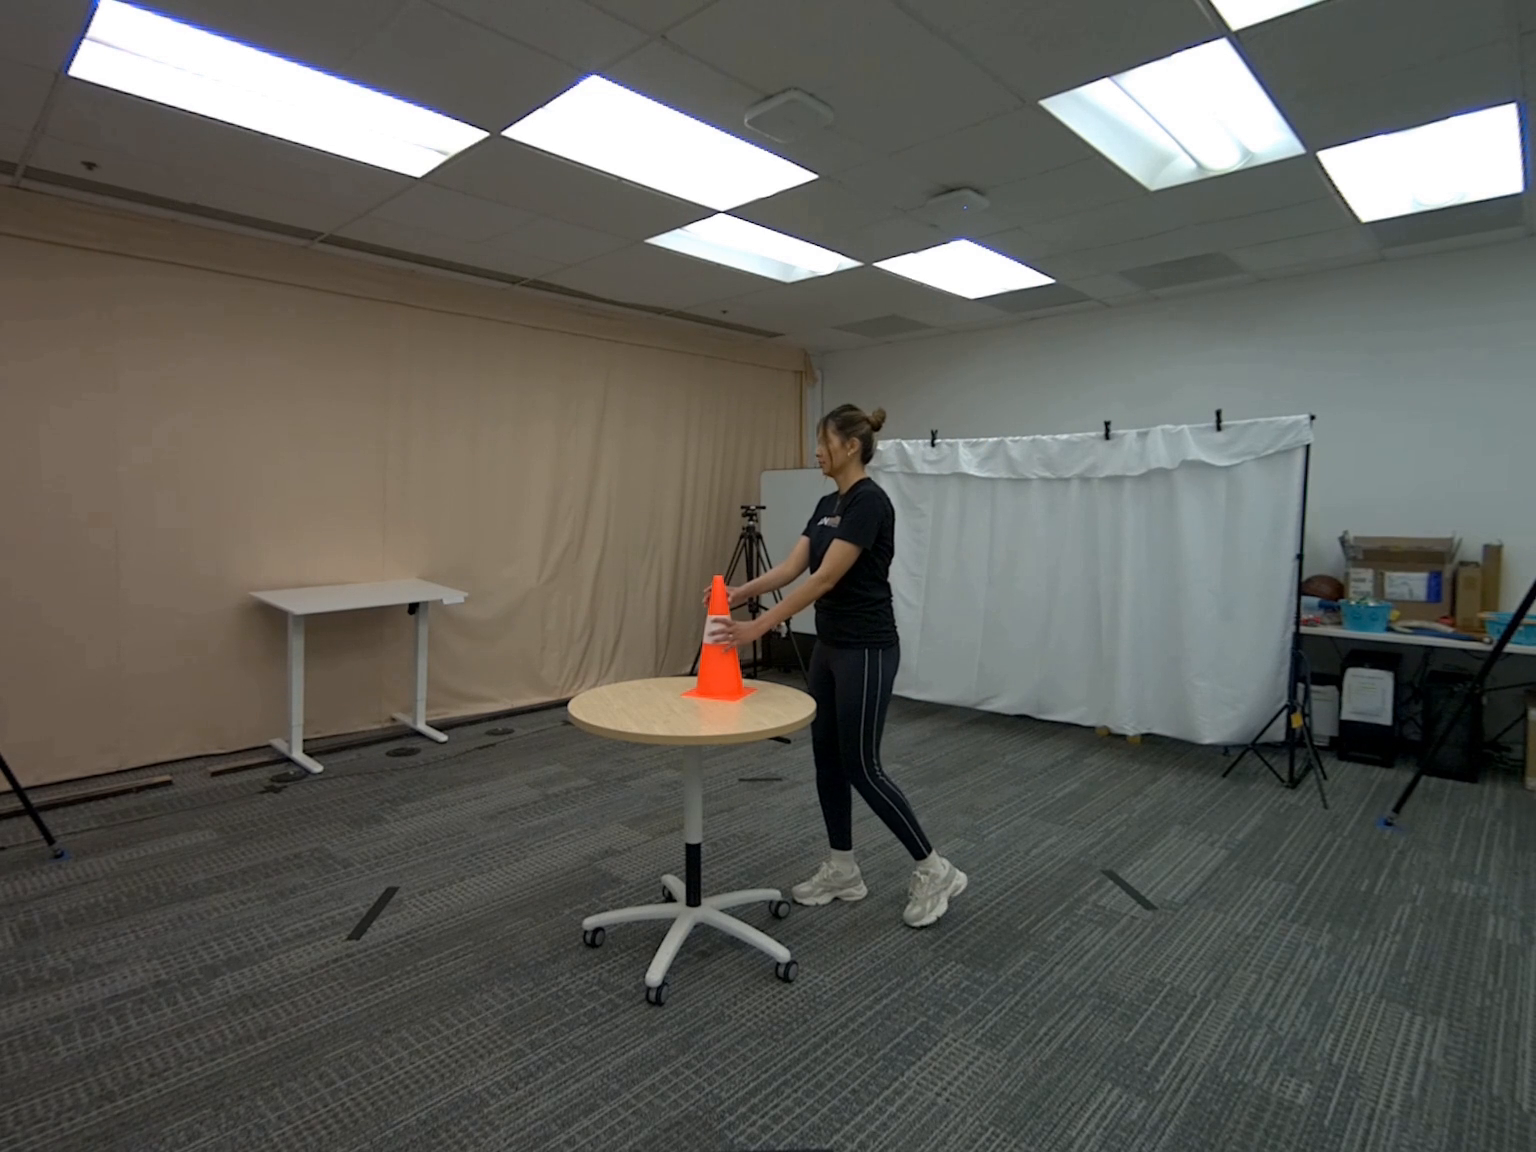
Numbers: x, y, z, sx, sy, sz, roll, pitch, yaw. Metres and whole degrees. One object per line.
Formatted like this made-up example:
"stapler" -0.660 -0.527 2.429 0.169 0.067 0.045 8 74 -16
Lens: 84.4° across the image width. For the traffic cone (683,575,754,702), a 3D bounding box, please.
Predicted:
"traffic cone" -0.156 0.196 2.741 0.209 0.383 0.199 1 3 31
